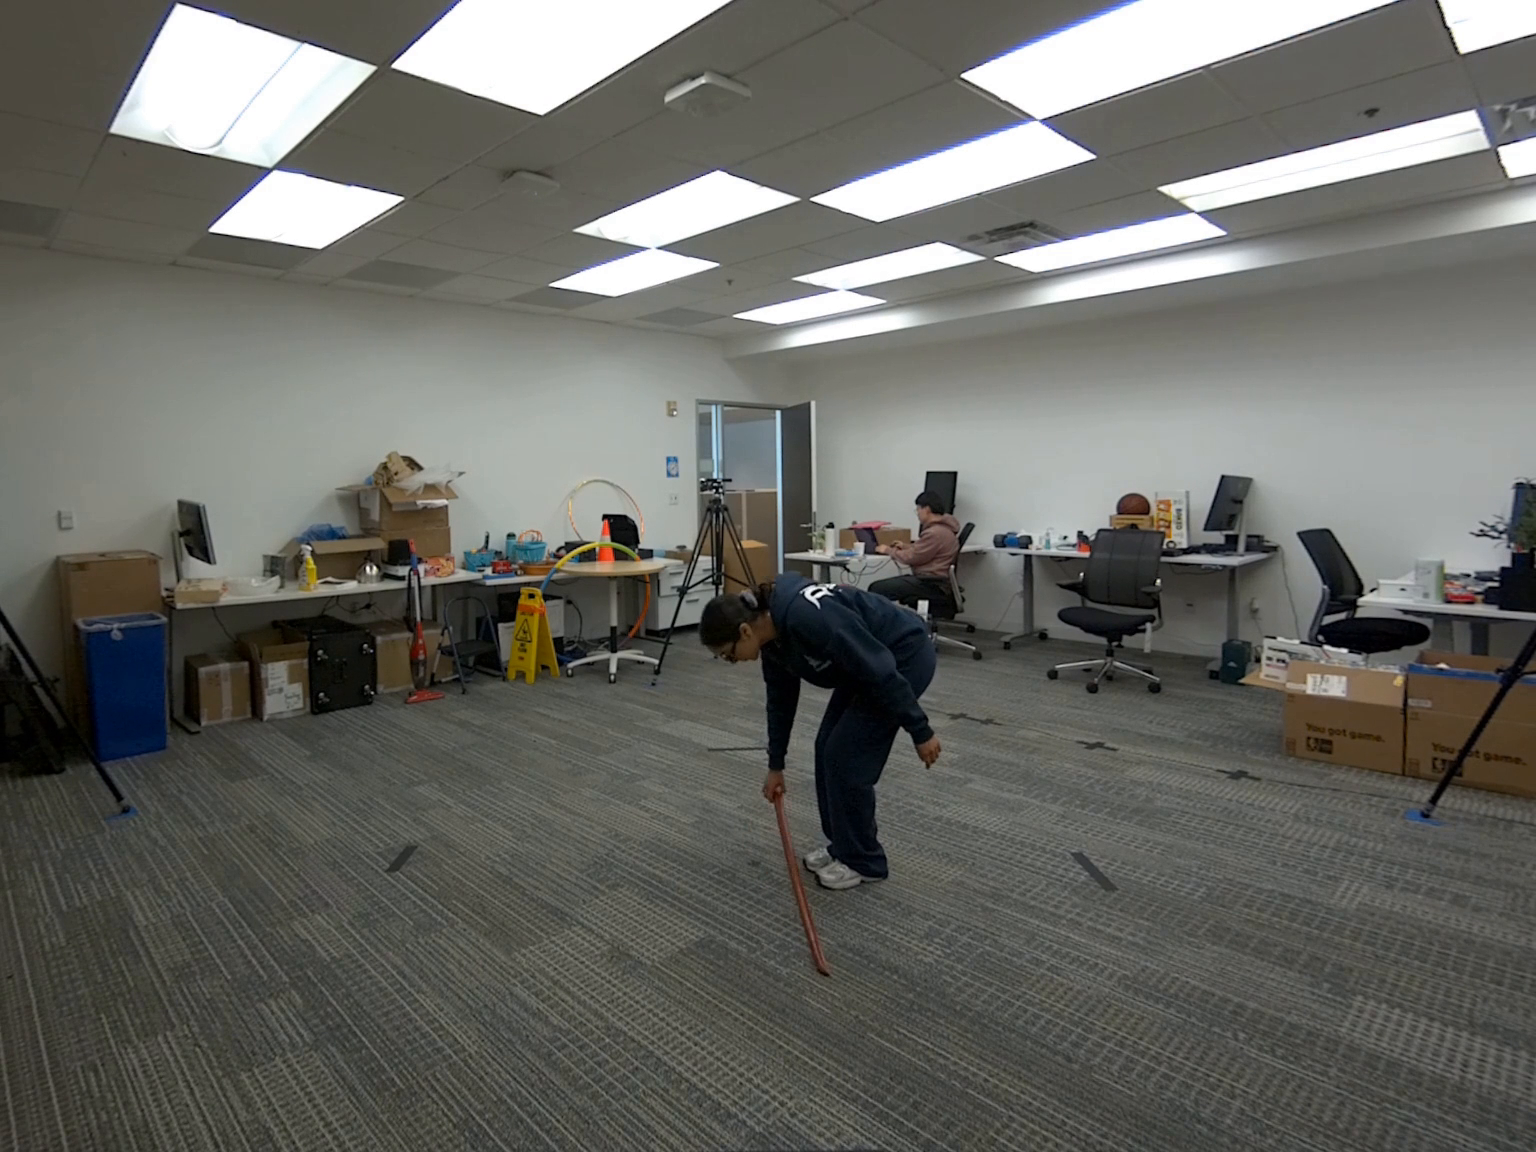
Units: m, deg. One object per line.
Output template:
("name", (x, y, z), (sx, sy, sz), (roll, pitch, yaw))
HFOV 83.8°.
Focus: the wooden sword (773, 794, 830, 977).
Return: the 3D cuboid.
("wooden sword", (0.067, 0.945, 2.871), (0.051, 0.023, 1.048), (-28, 22, 2))
